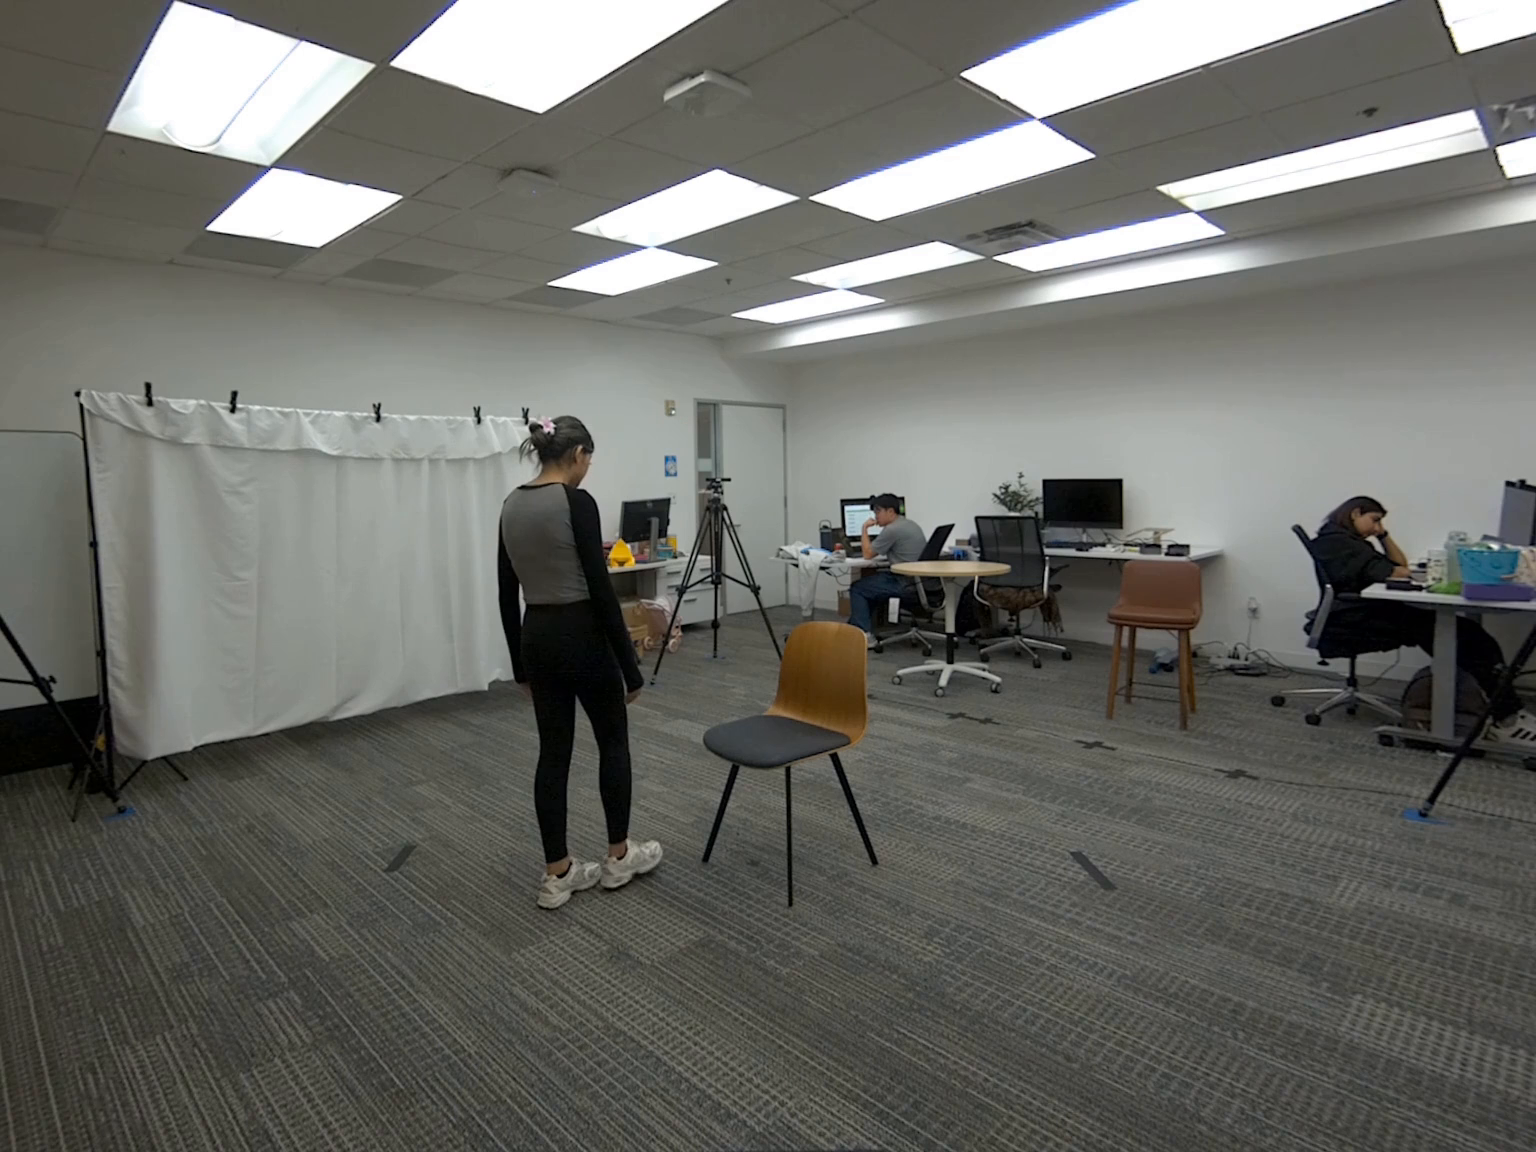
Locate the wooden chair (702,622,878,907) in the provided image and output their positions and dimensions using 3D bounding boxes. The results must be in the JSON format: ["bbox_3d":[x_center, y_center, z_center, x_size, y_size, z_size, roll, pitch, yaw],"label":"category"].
[{"bbox_3d":[0.070,0.617,3.056,0.508,0.876,0.493,1,2,-42],"label":"wooden chair"}]
